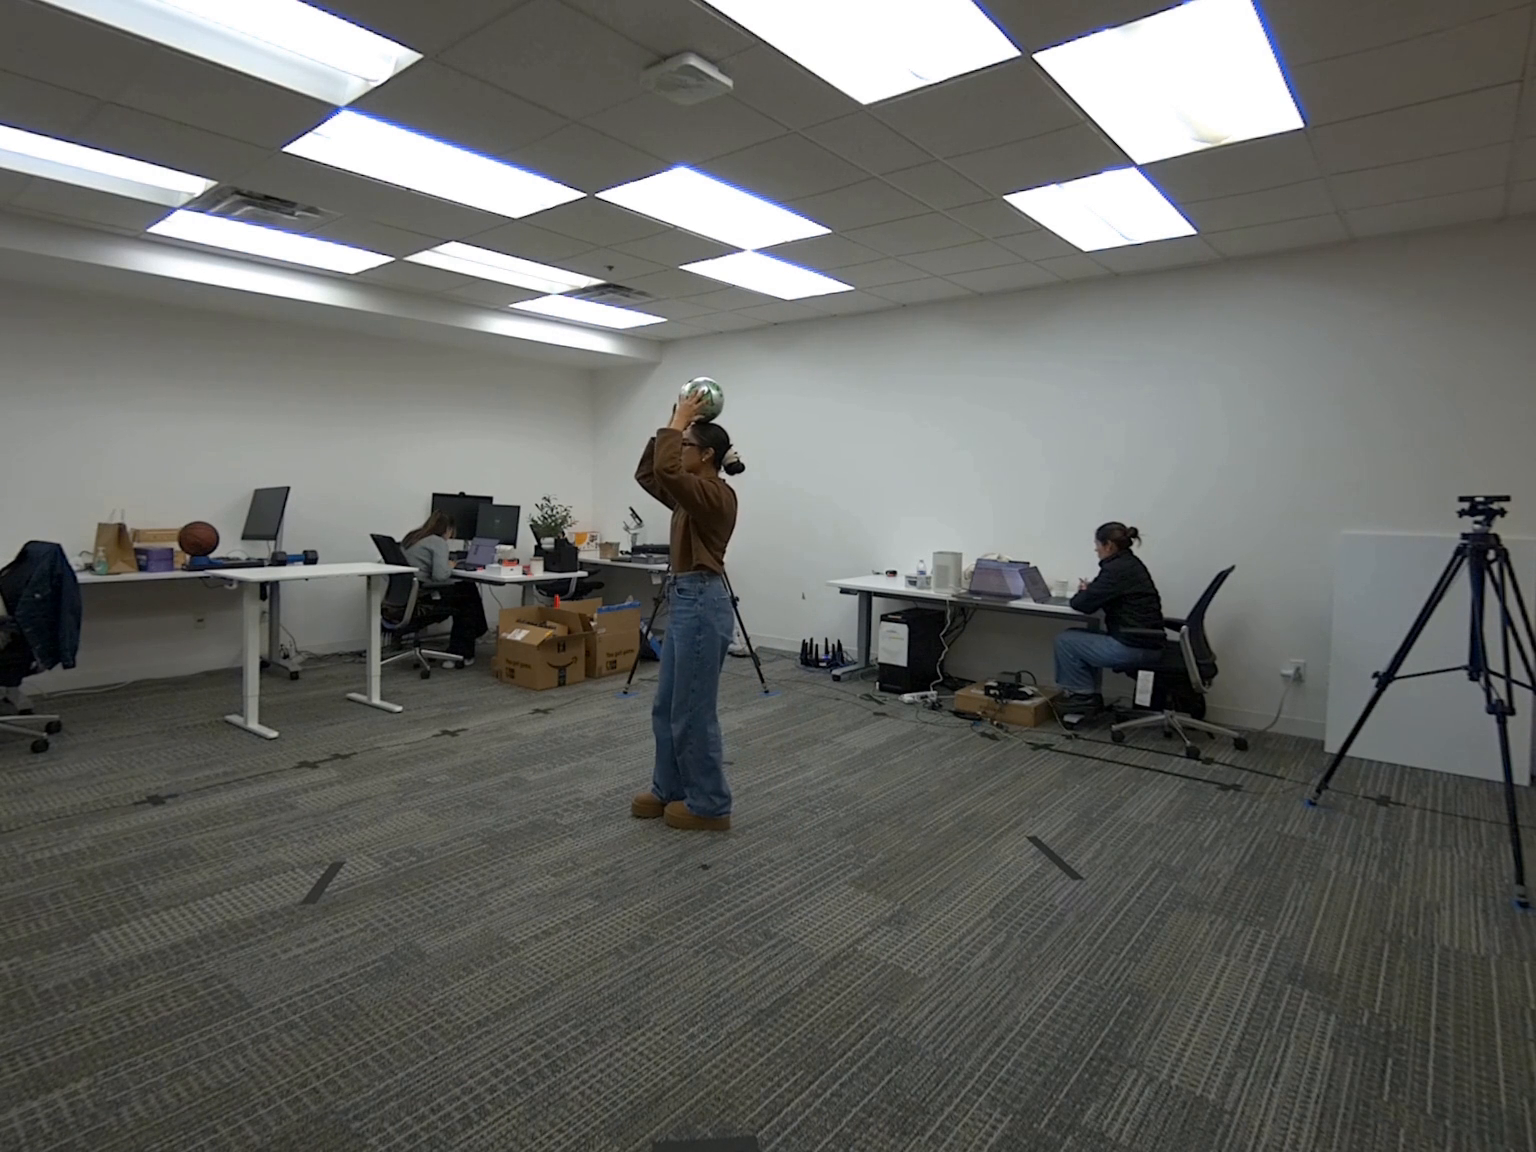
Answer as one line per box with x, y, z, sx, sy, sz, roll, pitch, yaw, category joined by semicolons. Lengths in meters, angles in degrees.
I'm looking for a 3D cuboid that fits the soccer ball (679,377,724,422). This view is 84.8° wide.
-0.283;-0.718;3.465;0.187;0.187;0.188;1;4;-2;soccer ball
